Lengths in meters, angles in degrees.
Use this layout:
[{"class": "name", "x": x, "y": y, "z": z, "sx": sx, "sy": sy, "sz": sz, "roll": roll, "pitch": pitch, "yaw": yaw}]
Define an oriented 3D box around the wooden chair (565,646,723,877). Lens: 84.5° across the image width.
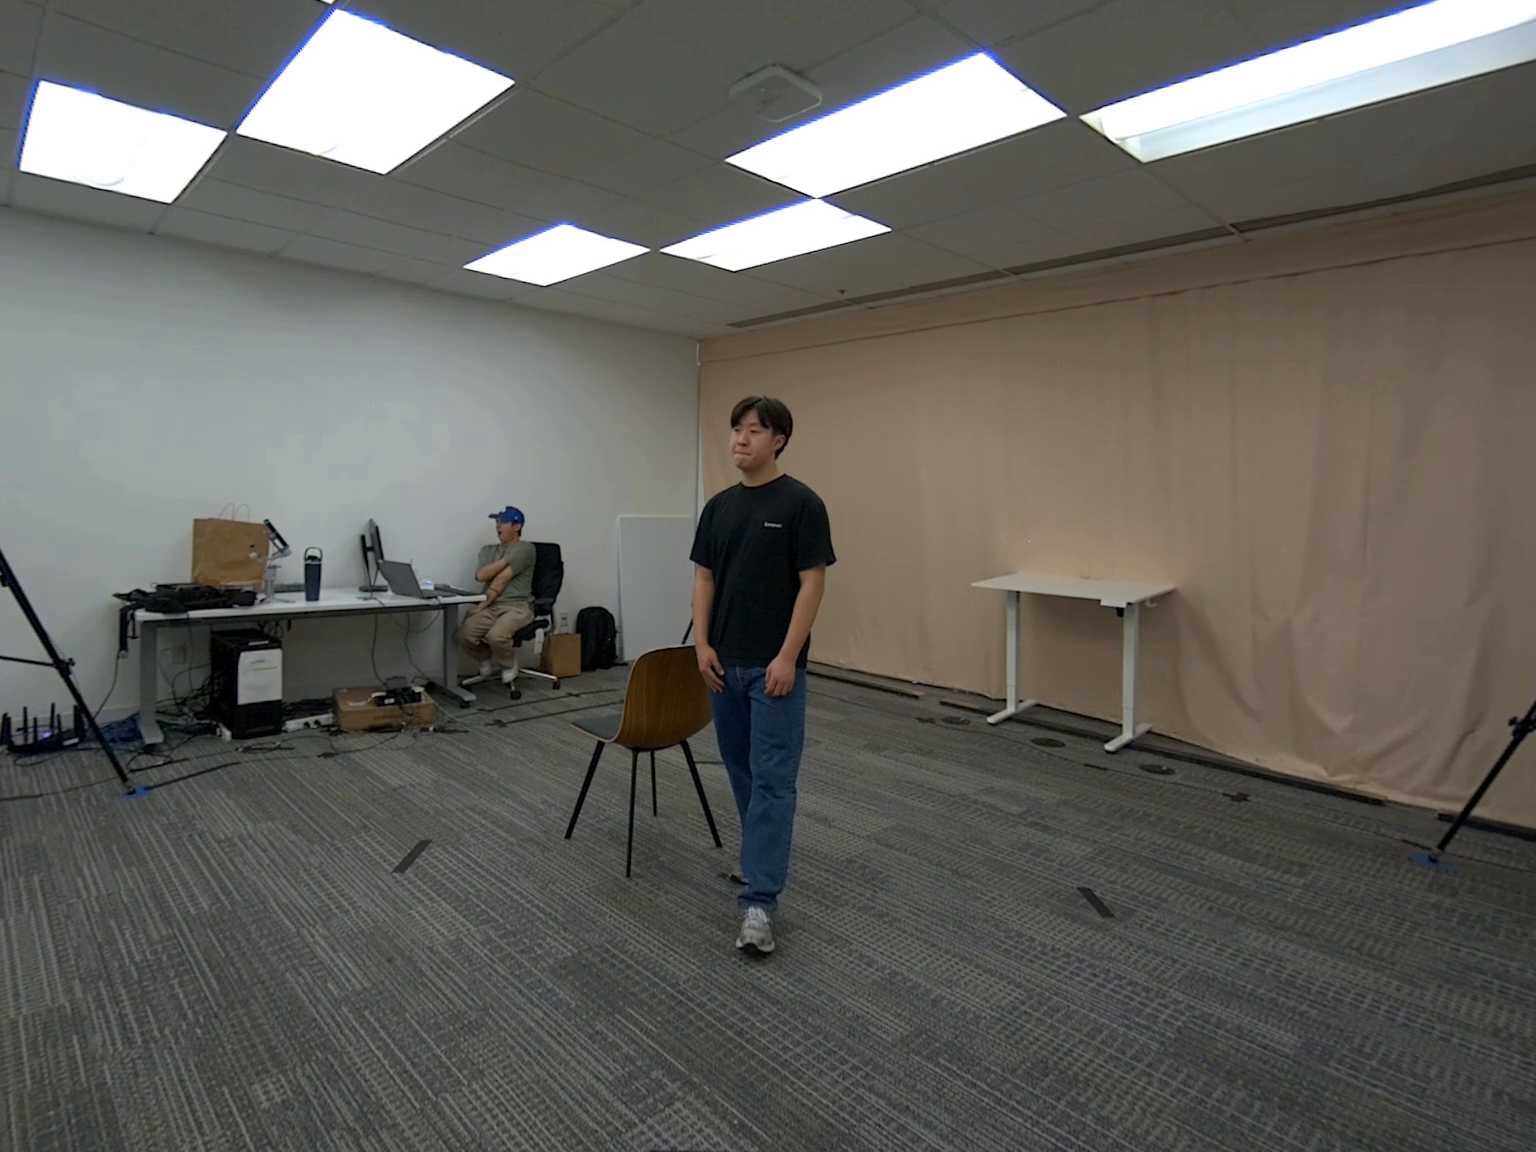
[{"class": "wooden chair", "x": -0.498, "y": 0.648, "z": 3.356, "sx": 0.467, "sy": 0.873, "sz": 0.537, "roll": -2, "pitch": 9, "yaw": -42}]
